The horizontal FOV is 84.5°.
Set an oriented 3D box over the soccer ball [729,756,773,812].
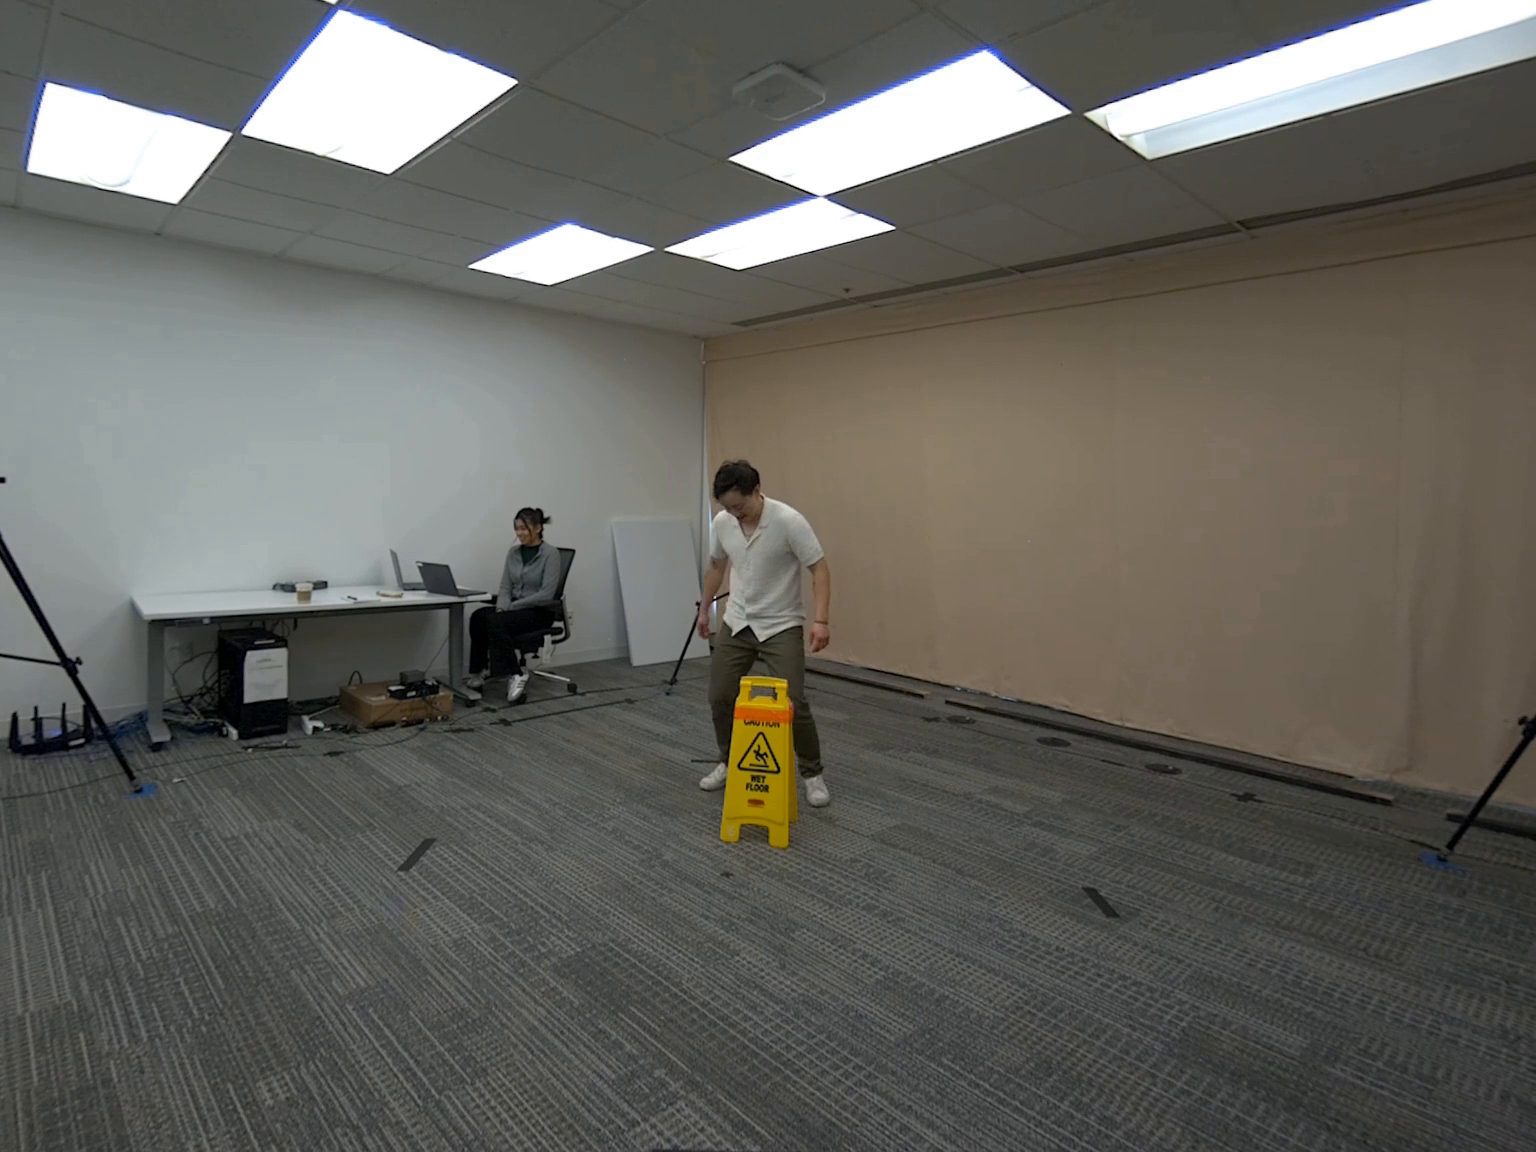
[{"bbox_3d":[-0.083,0.947,3.869,0.187,0.187,0.188,1,4,-1],"label":"soccer ball"}]
